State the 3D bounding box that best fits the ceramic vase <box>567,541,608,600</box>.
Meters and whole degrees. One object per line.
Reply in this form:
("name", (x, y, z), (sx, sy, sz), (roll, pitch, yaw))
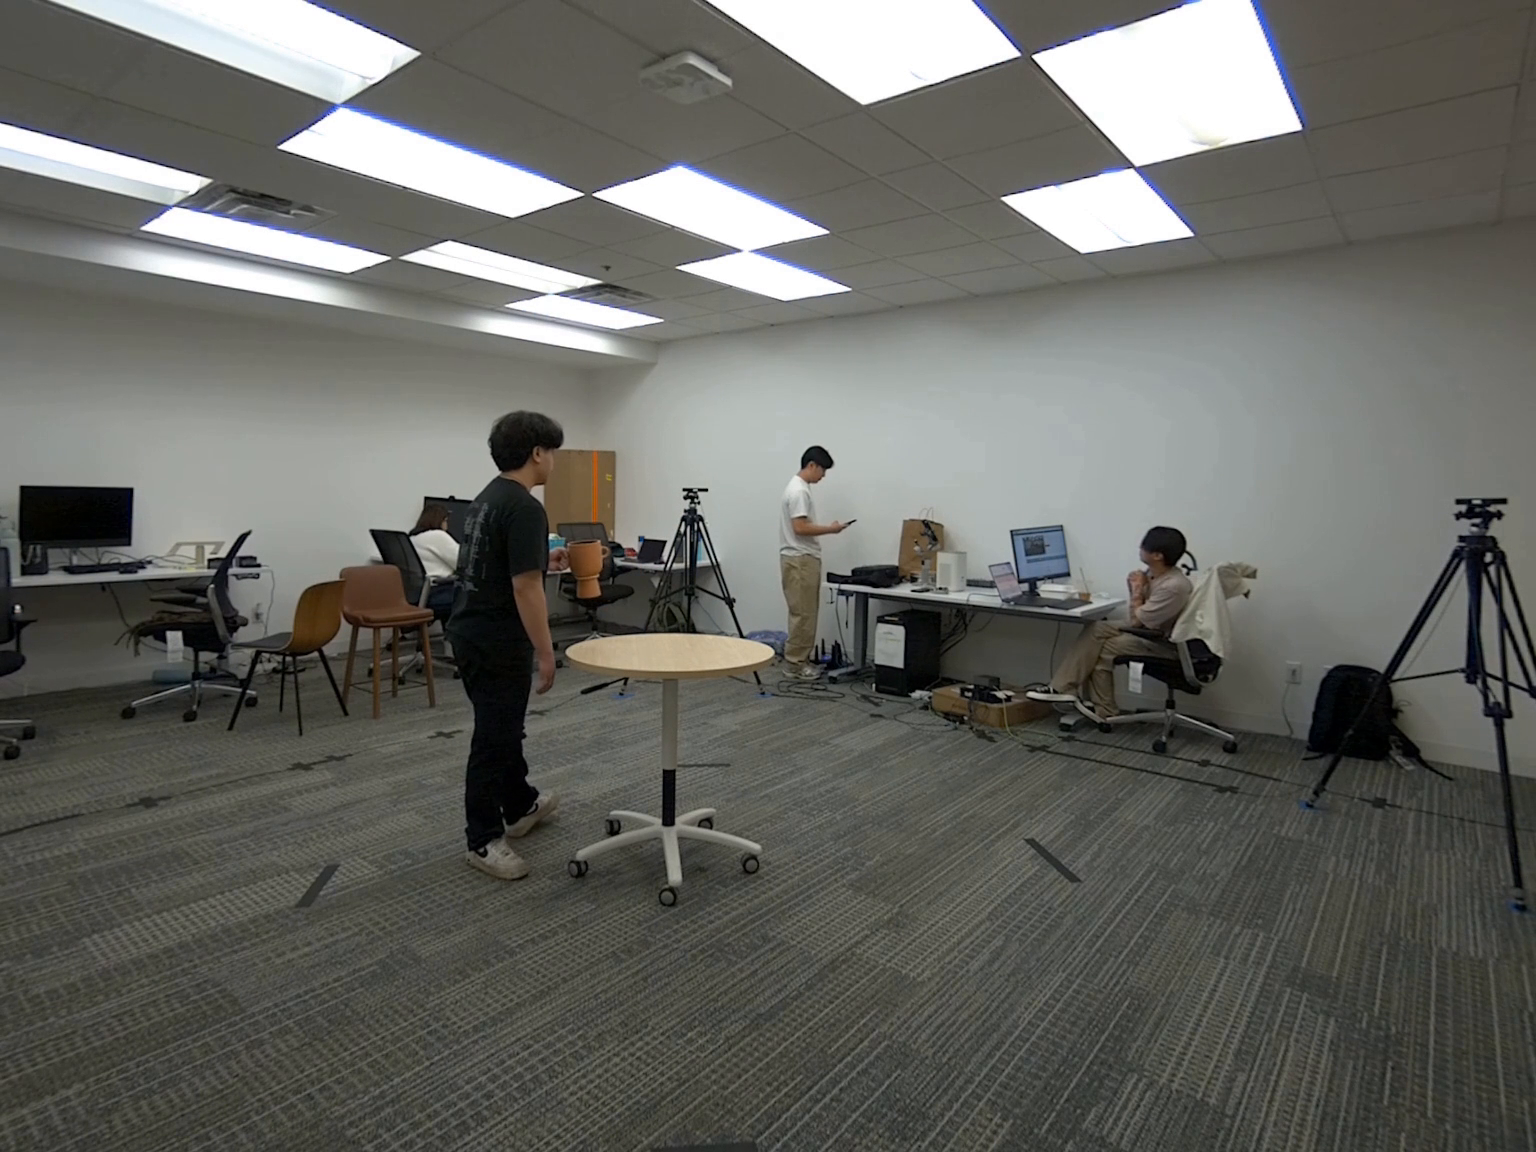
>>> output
("ceramic vase", (-0.752, -0.027, 3.446), (0.162, 0.218, 0.132), (0, 7, 23))
